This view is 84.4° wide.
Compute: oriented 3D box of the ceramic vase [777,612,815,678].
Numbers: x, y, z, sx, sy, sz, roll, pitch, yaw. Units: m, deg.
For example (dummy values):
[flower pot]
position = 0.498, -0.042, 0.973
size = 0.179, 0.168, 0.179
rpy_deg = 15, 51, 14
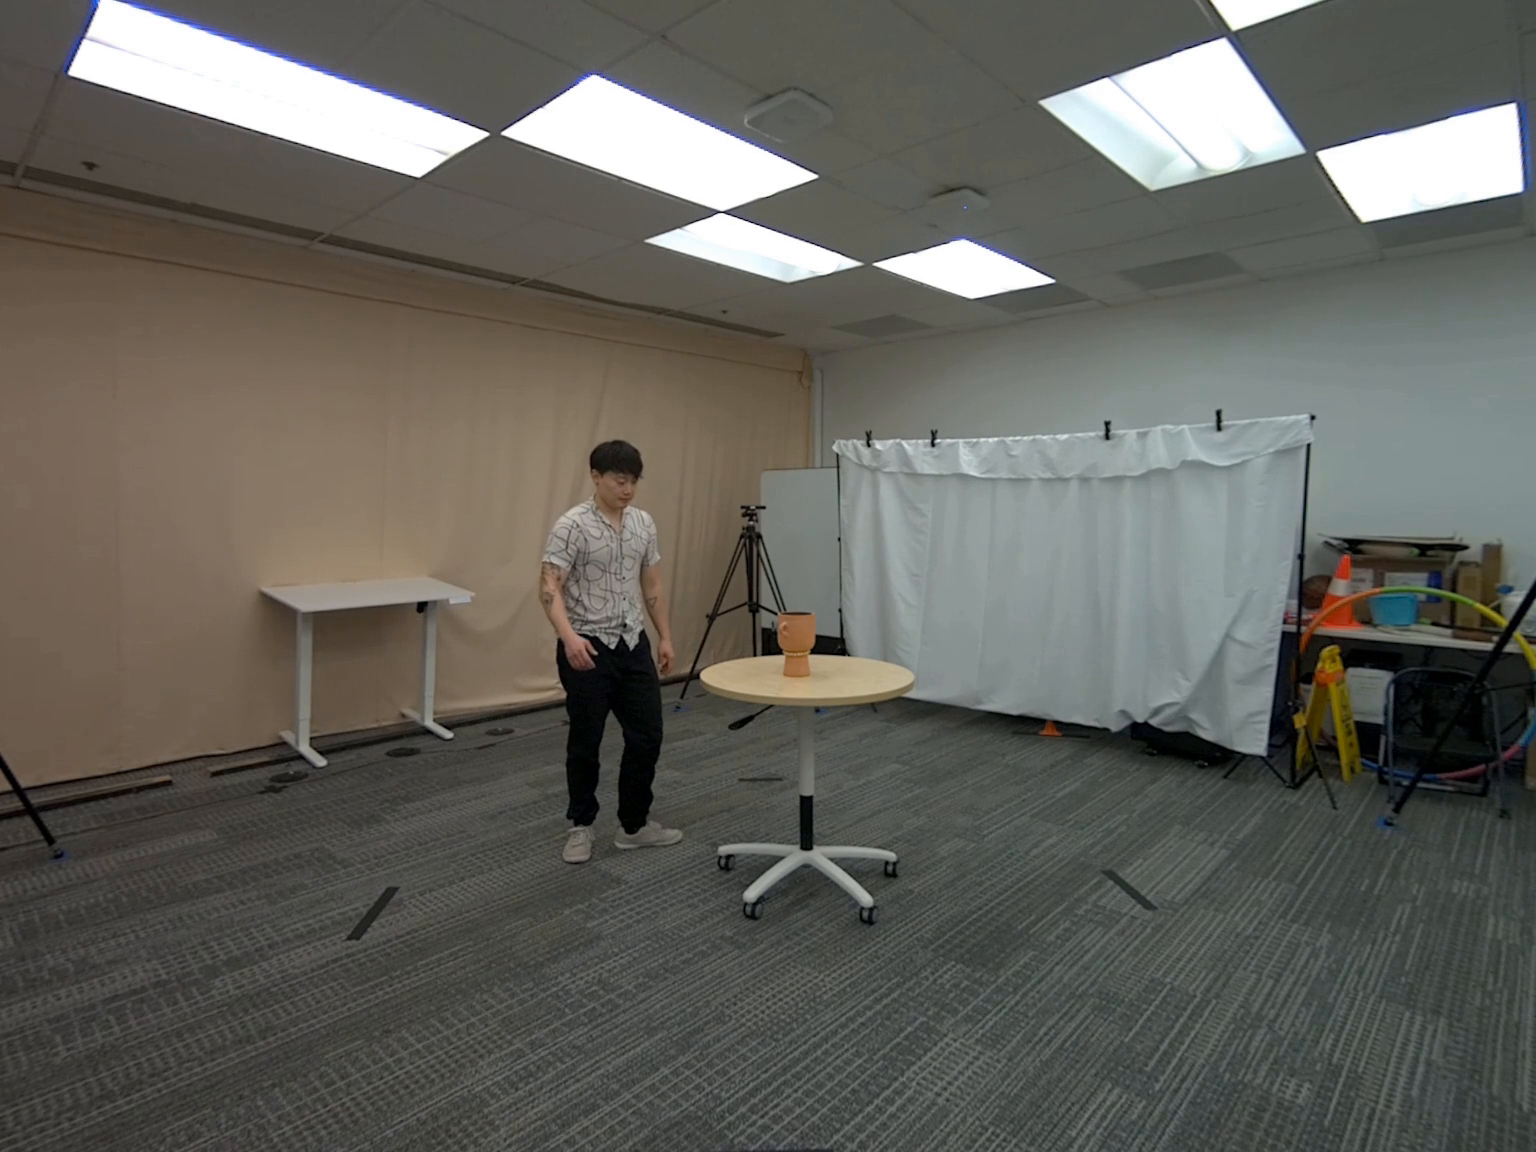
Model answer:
[ceramic vase]
position = 0.107, 0.247, 3.023
size = 0.157, 0.219, 0.136
rpy_deg = -1, 2, -12
